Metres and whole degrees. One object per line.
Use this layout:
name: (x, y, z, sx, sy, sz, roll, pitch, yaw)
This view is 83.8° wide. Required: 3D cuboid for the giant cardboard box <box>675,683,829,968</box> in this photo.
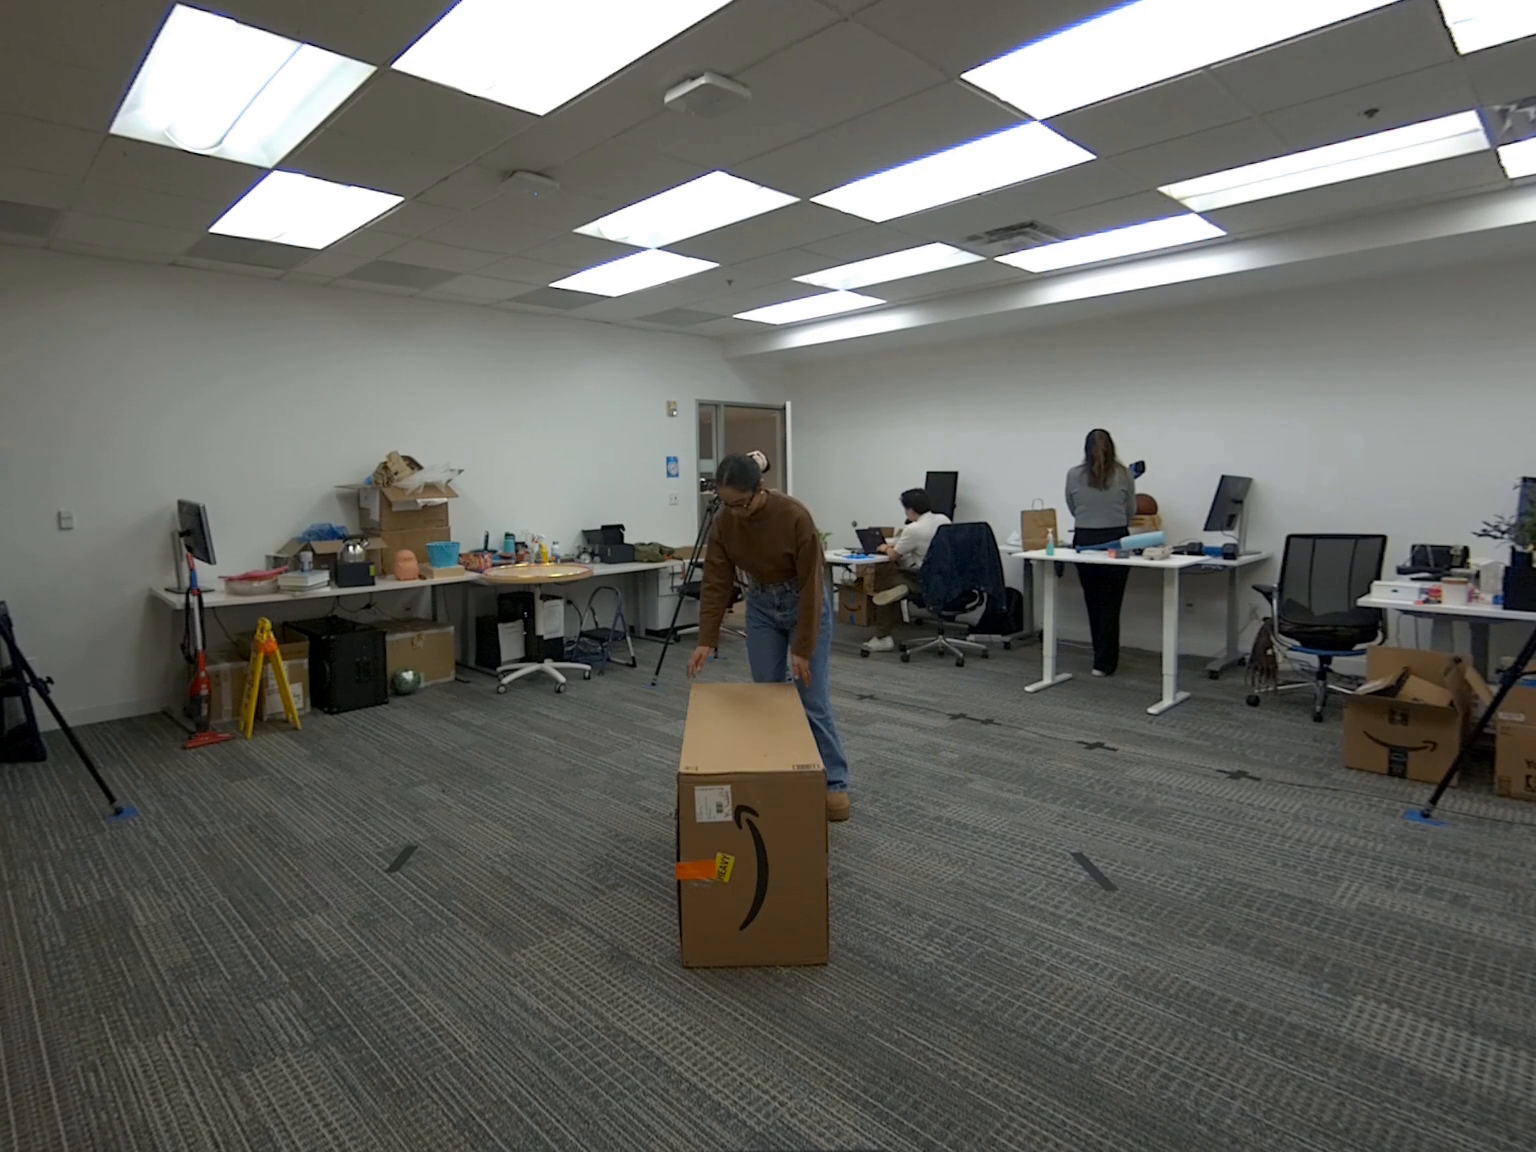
giant cardboard box: (-0.082, 0.776, 2.937, 0.426, 0.575, 1.031, -2, 6, -2)
